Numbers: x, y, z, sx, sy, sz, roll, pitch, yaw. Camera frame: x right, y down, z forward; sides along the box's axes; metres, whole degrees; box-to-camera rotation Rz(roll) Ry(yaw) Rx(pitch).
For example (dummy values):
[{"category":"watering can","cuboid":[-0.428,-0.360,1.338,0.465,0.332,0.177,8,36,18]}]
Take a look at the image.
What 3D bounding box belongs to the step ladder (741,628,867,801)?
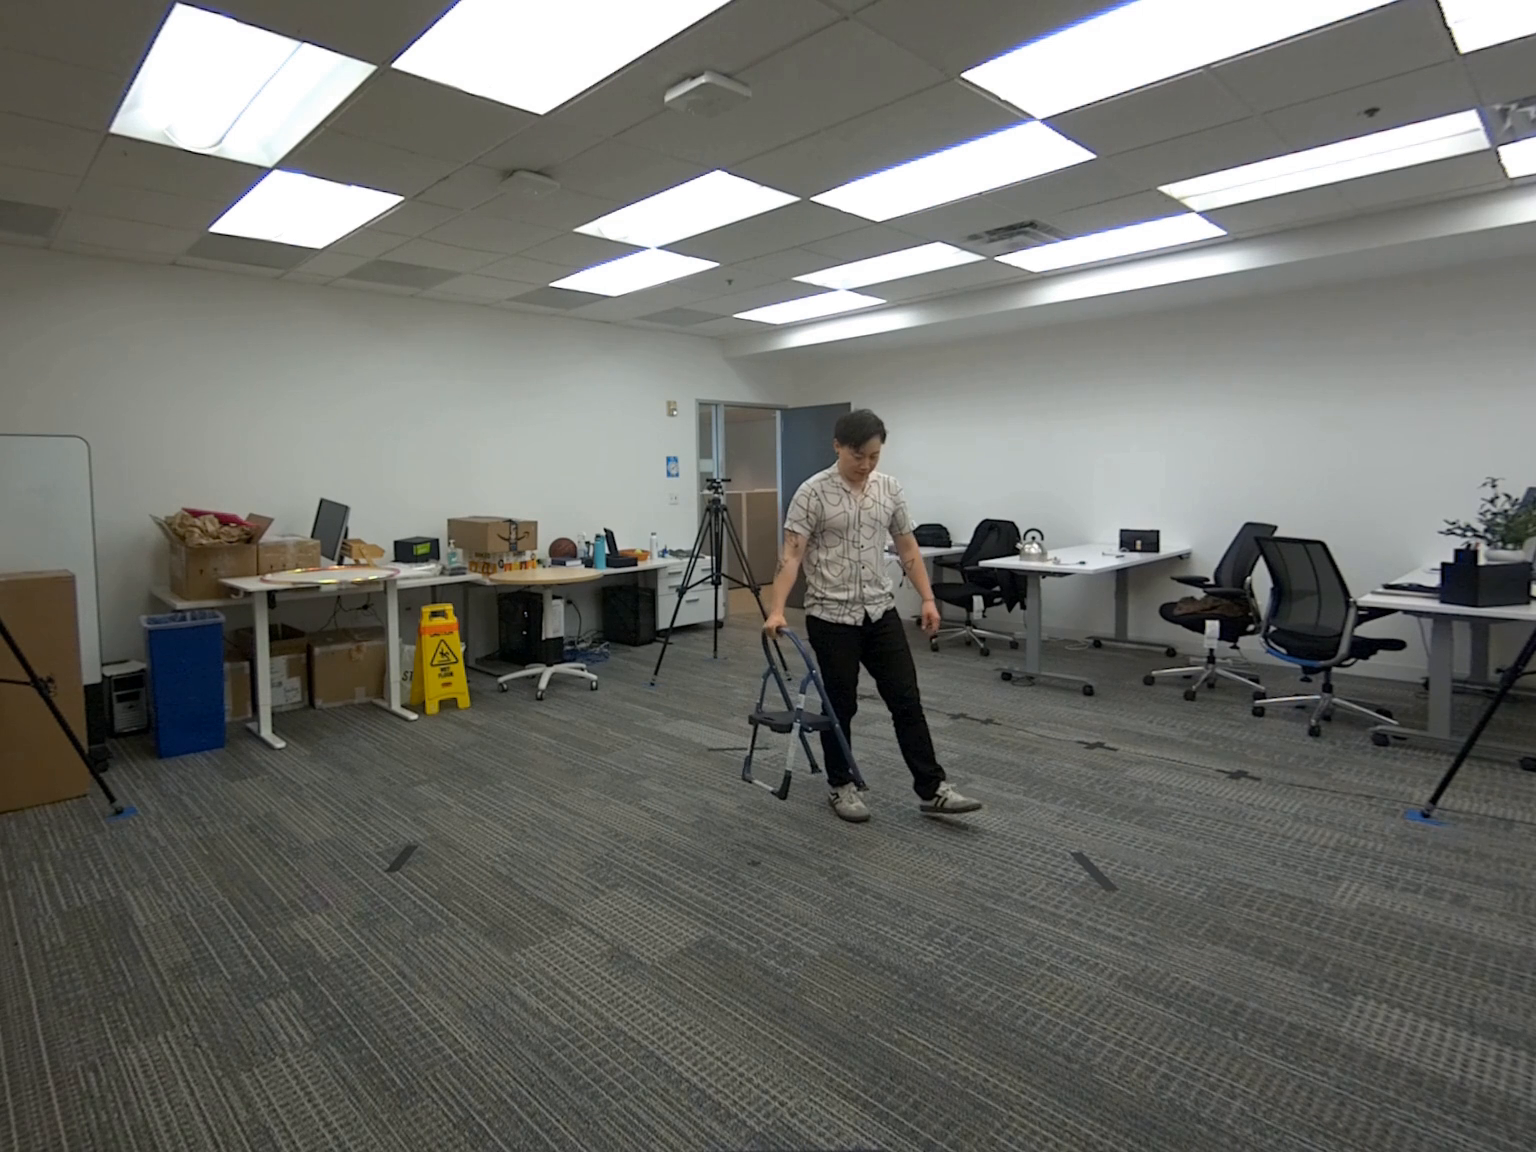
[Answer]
[{"category":"step ladder","cuboid":[0.108,0.501,3.296,0.343,0.609,0.437,0,-5,-21]}]
